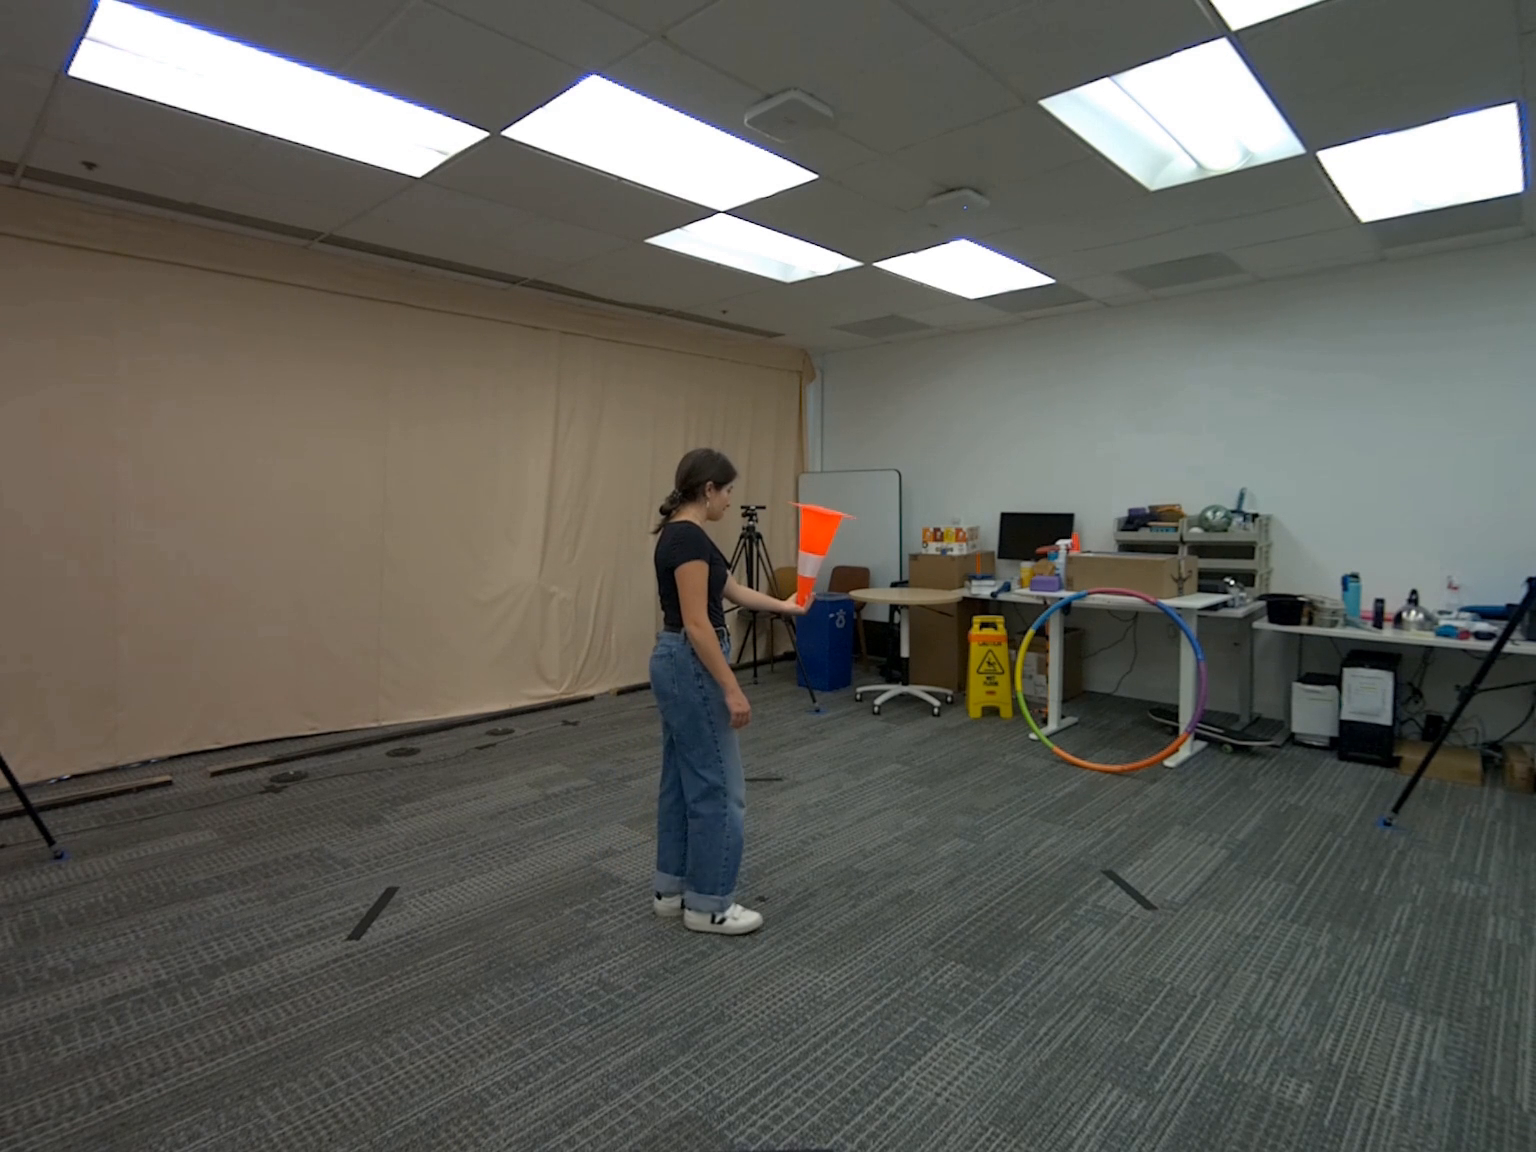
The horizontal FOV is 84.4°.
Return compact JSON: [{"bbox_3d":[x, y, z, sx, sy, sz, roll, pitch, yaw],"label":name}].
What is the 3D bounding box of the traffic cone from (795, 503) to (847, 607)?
[{"bbox_3d":[0.182,-0.063,3.201,0.197,0.382,0.212,7,8,-33],"label":"traffic cone"}]
